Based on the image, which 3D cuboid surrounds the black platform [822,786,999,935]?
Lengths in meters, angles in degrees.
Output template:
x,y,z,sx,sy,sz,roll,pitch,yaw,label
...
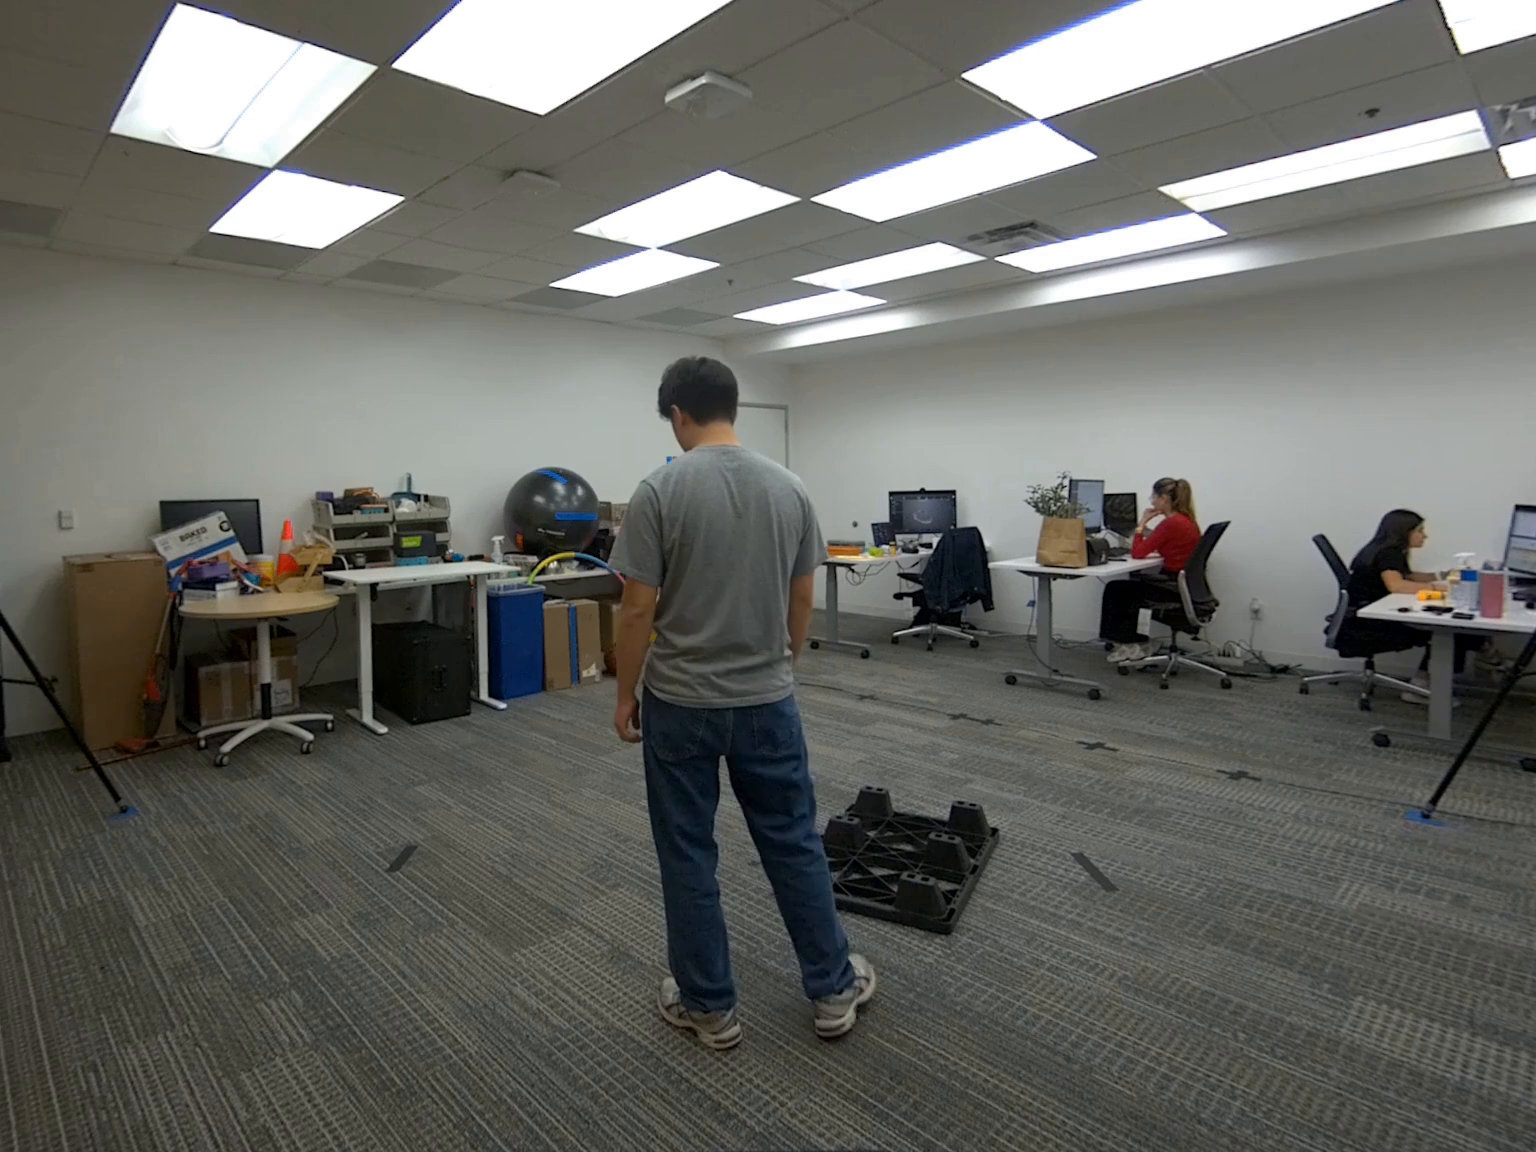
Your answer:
x,y,z,sx,sy,sz,roll,pitch,yaw,label
0.456,0.973,3.069,0.620,0.142,0.790,2,7,26,black platform
